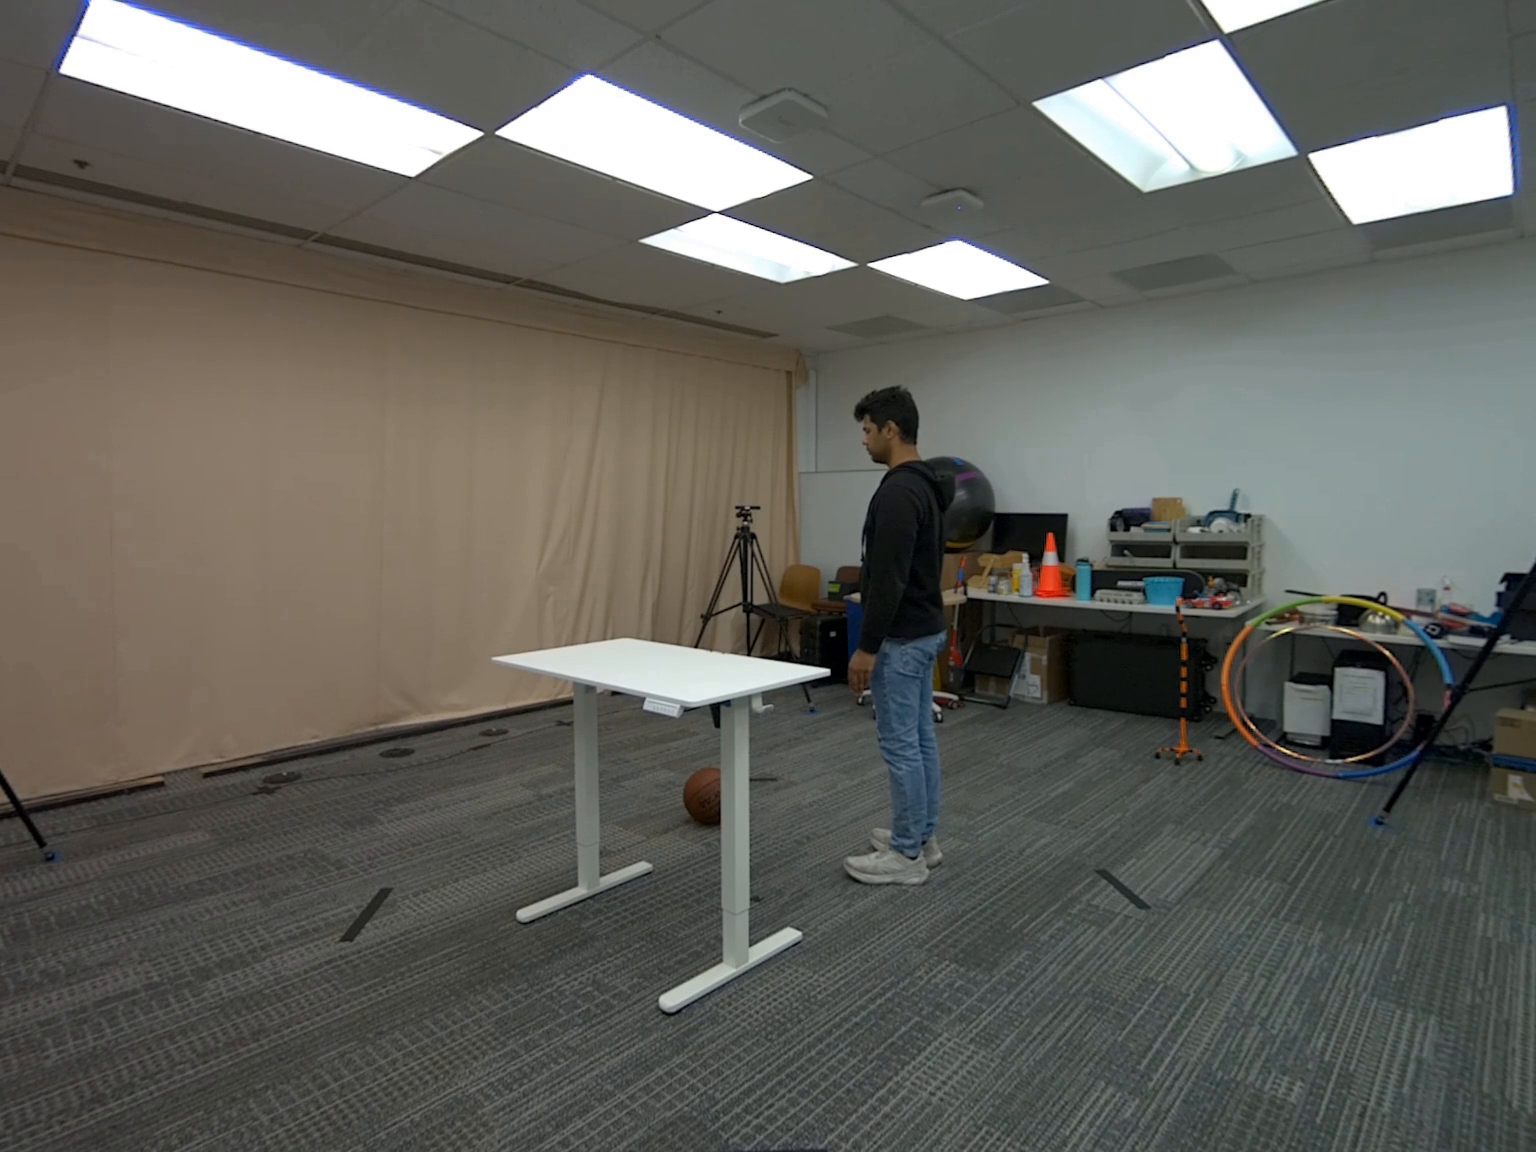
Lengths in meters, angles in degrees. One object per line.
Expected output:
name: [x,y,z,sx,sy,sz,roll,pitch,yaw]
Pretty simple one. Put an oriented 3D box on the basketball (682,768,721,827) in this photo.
basketball: [-0.256,0.961,3.710,0.236,0.235,0.237,0,4,-2]
